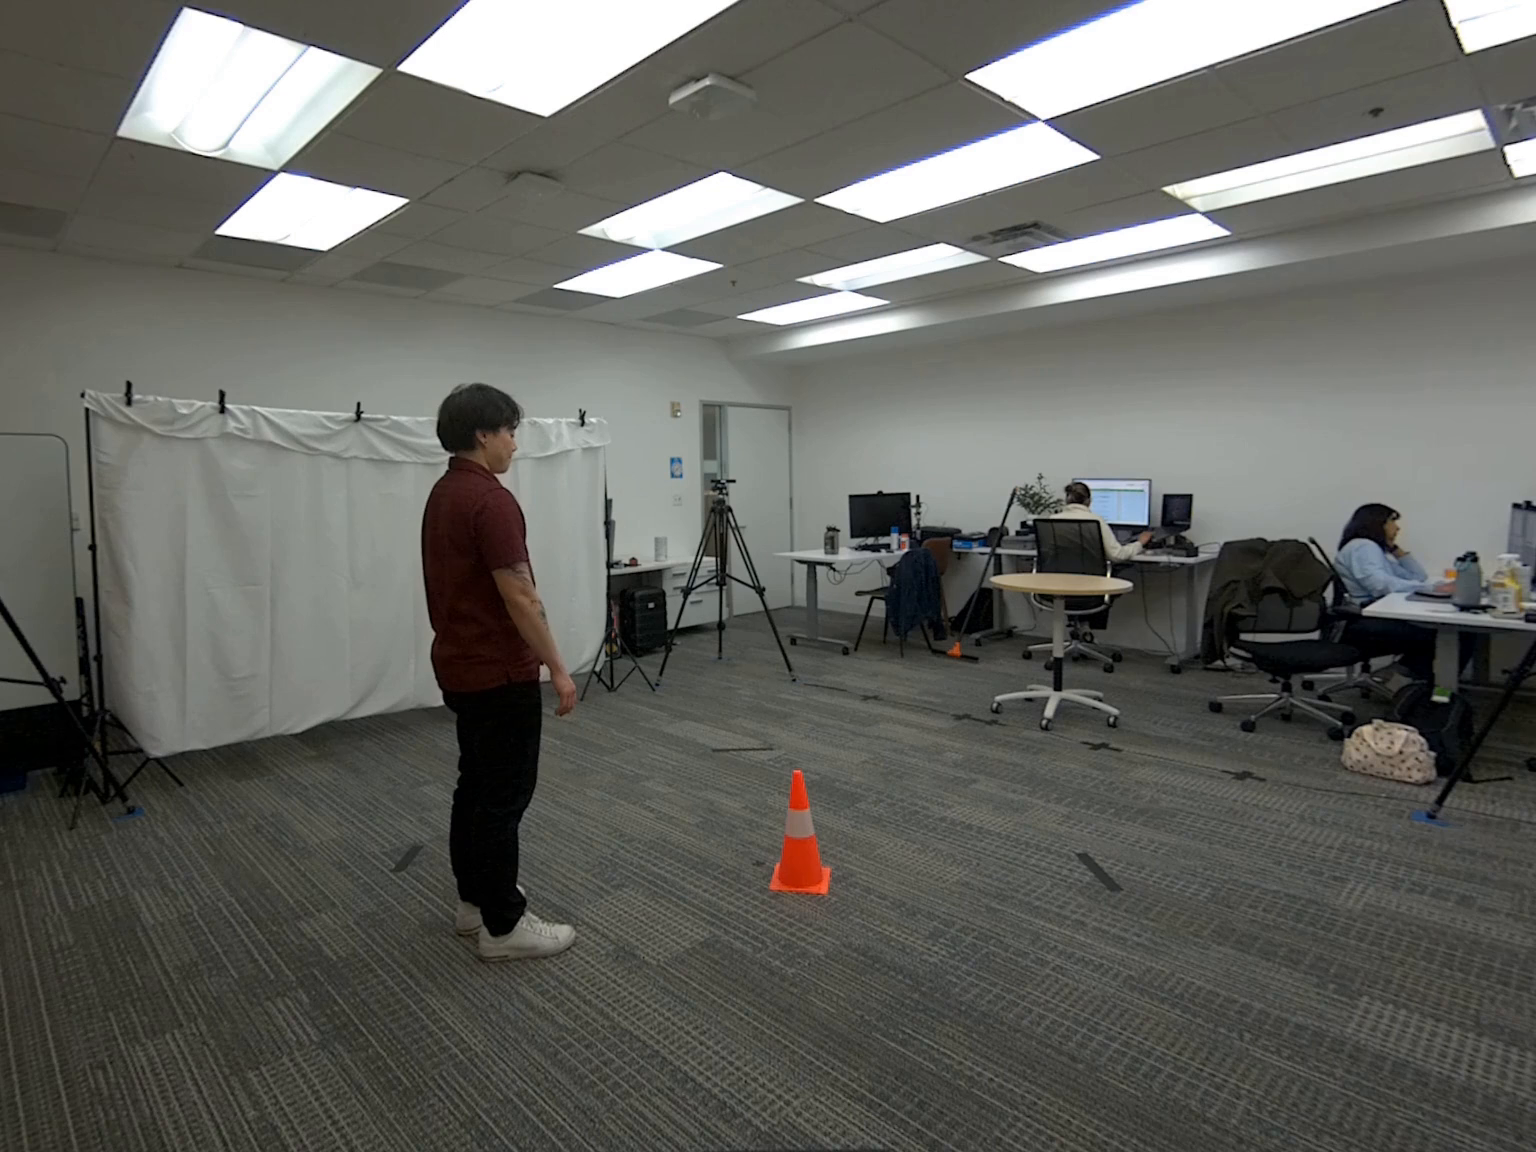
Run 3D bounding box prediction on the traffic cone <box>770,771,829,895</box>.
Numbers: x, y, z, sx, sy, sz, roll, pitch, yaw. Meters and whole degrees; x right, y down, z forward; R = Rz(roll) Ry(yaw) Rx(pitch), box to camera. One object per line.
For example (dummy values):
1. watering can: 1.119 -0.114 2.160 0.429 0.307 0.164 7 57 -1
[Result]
1. traffic cone: 0.121 0.871 2.970 0.208 0.382 0.201 1 5 13
